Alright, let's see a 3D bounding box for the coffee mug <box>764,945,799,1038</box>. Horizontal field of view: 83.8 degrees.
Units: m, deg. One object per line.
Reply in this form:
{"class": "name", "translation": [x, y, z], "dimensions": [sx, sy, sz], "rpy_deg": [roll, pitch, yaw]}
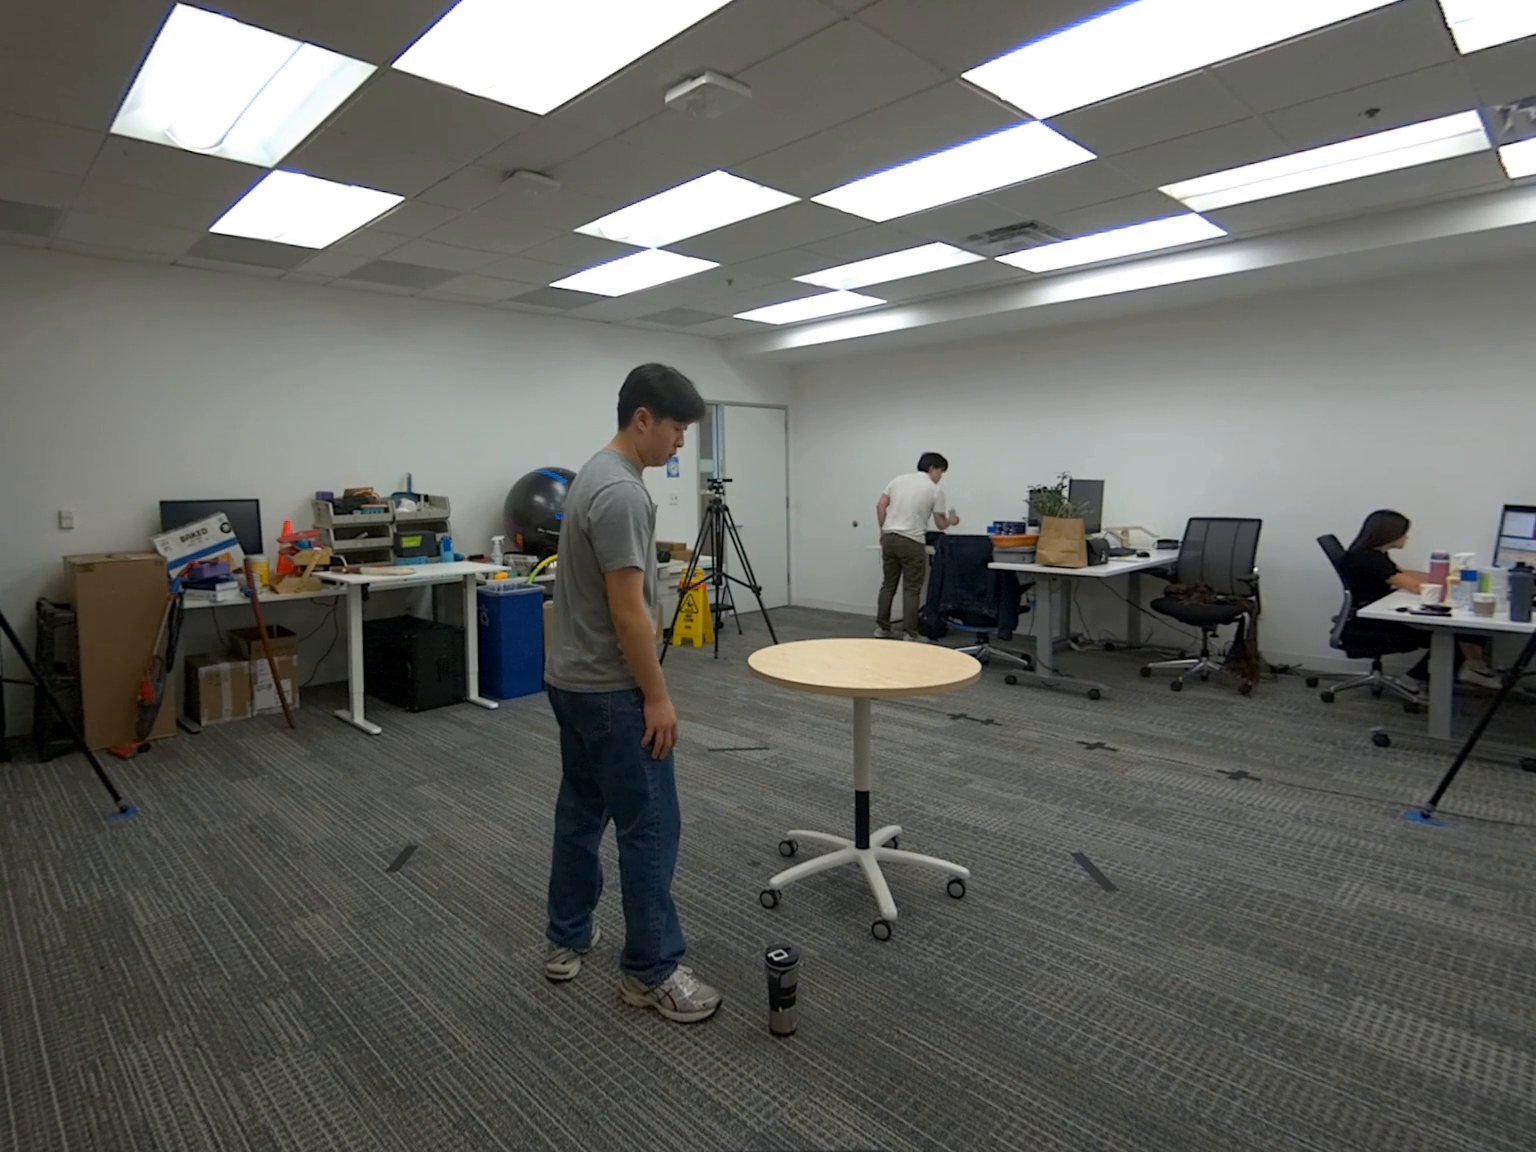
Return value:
{"class": "coffee mug", "translation": [0.014, 1.051, 2.156], "dimensions": [0.118, 0.202, 0.091], "rpy_deg": [-2, 7, -41]}
